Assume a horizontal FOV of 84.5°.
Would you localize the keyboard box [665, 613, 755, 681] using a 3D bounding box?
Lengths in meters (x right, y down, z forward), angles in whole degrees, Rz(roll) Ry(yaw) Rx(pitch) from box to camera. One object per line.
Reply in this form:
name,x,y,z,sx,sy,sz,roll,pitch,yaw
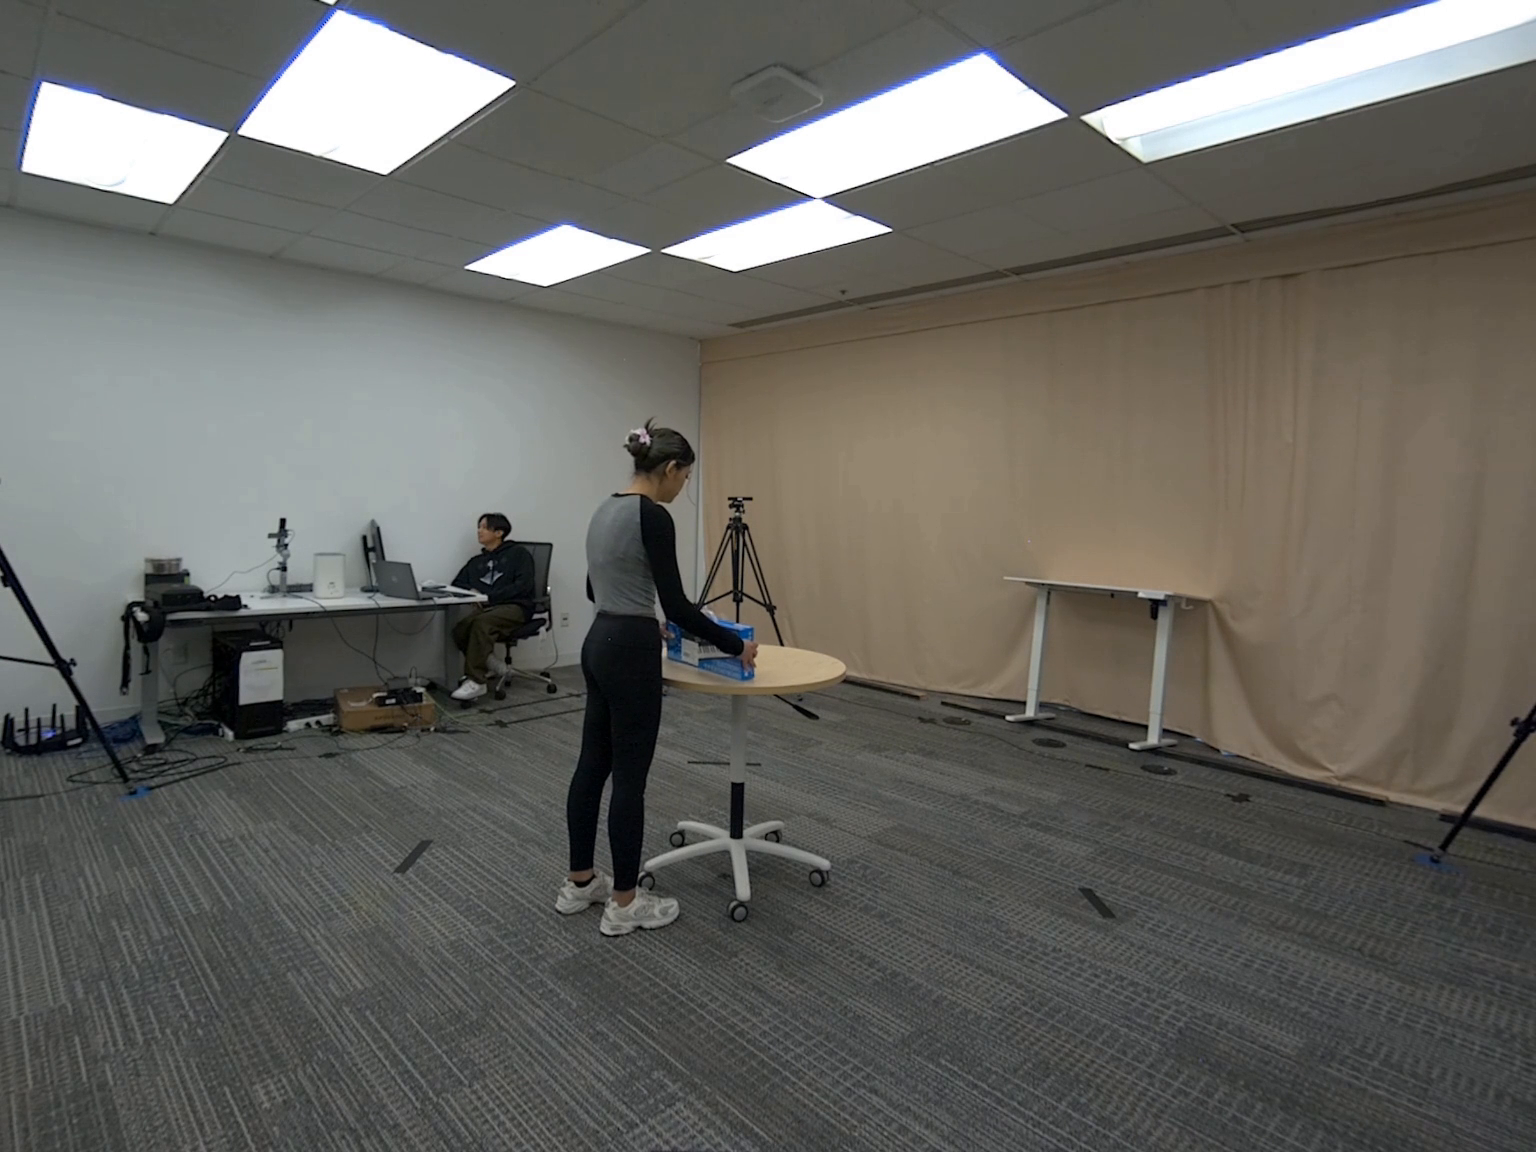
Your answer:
keyboard box,-0.216,0.242,2.960,0.058,0.175,0.448,-3,7,-39
